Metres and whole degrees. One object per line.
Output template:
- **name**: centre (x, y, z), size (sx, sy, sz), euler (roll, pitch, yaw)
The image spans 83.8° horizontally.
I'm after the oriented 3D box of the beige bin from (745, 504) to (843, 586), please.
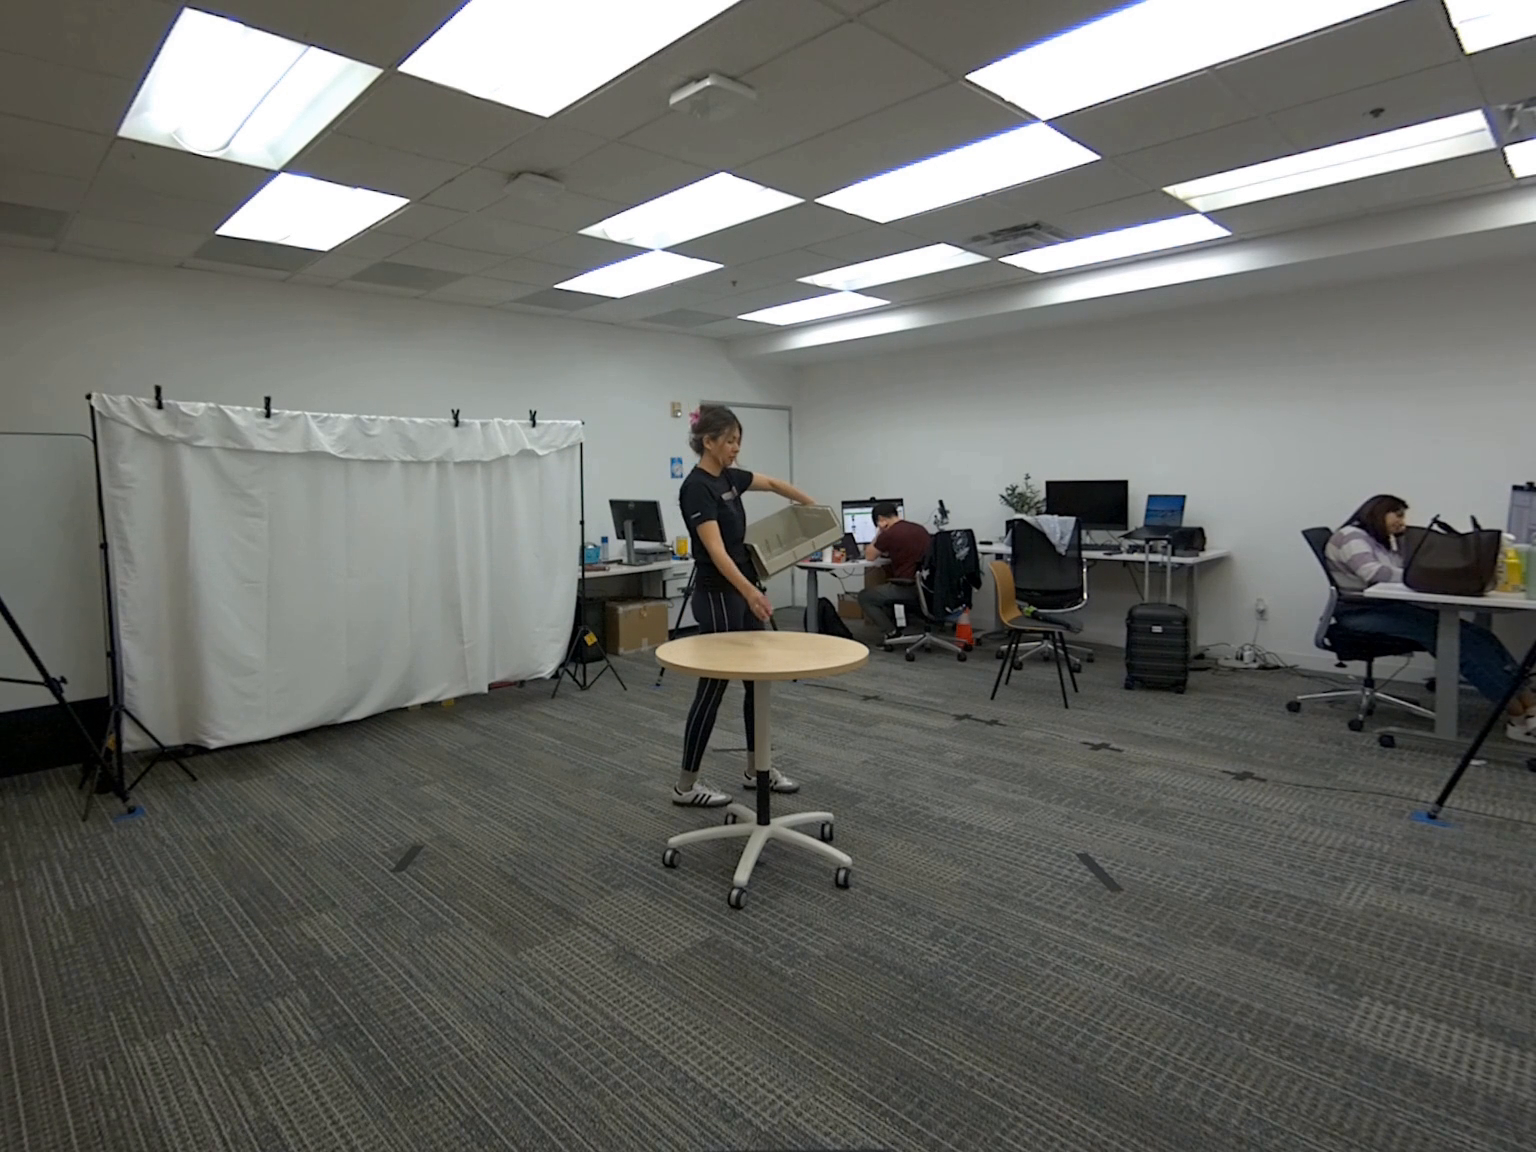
- **beige bin**: centre (0.063, -0.158, 3.861), size (0.418, 0.186, 0.387), euler (-27, 16, -21)
